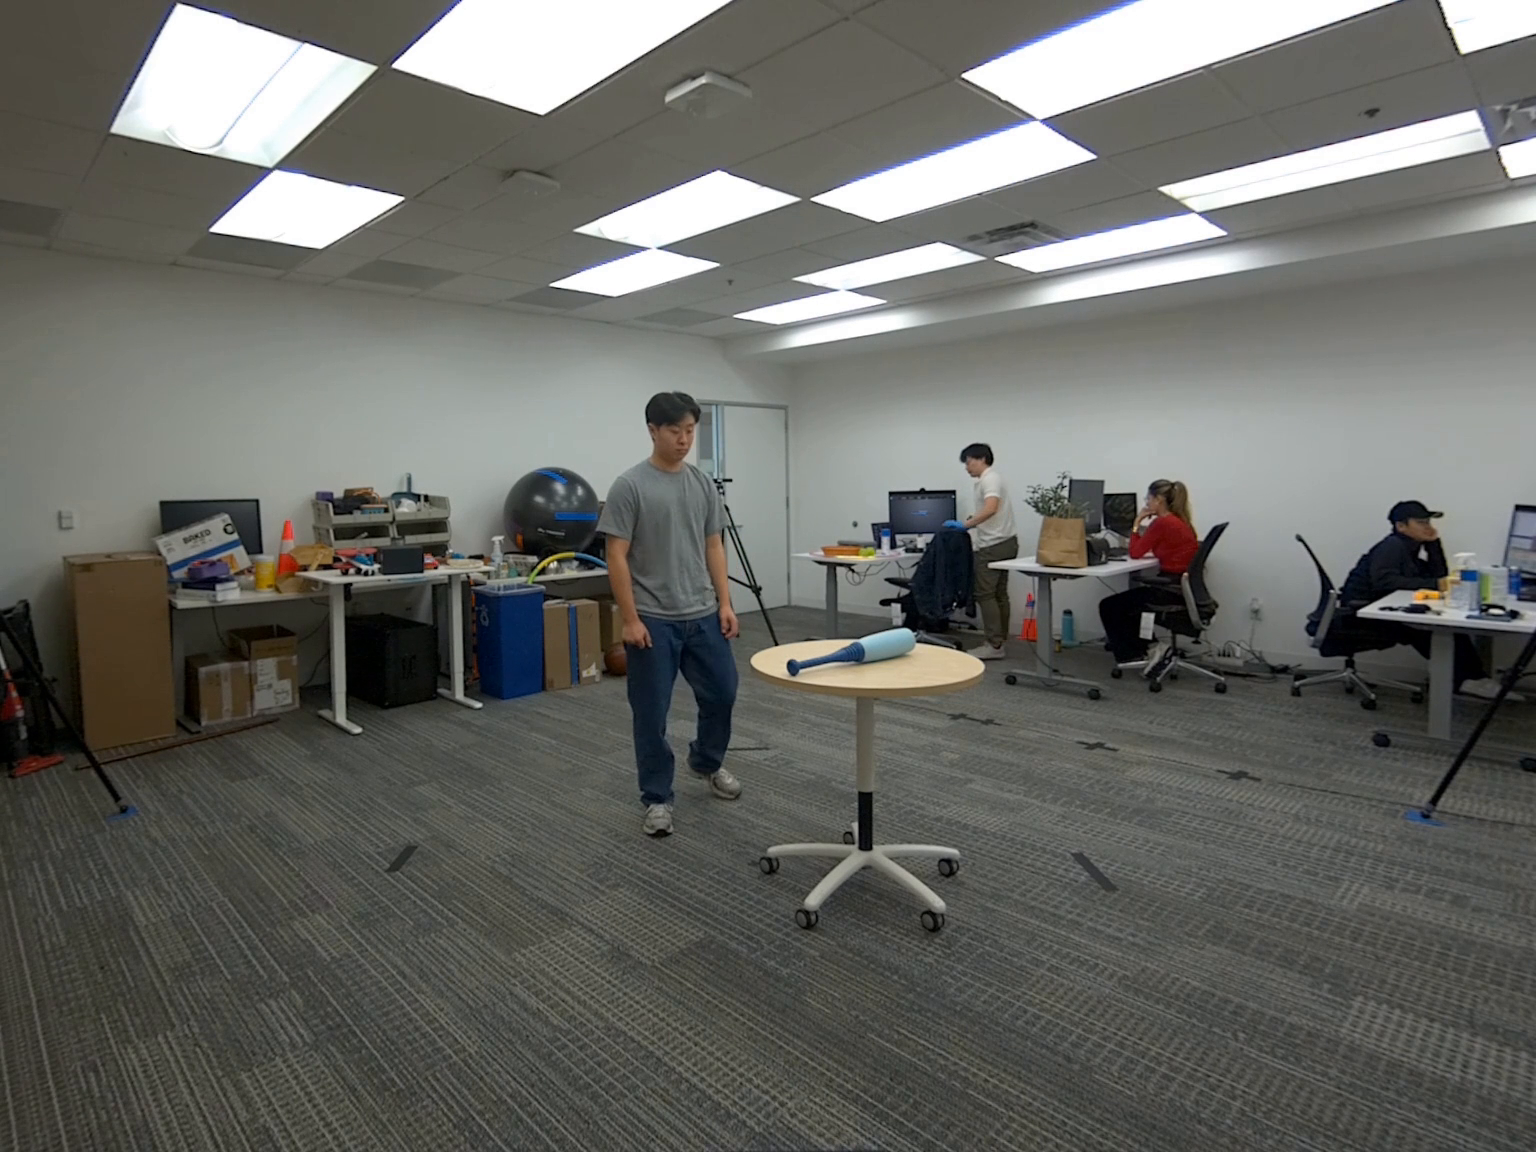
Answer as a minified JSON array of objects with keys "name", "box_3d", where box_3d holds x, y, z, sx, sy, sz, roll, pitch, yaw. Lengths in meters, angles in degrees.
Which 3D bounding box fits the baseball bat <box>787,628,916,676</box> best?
[{"name":"baseball bat","box_3d":[0.279,0.255,2.795,0.530,0.088,0.092,-9,9,-37]}]
